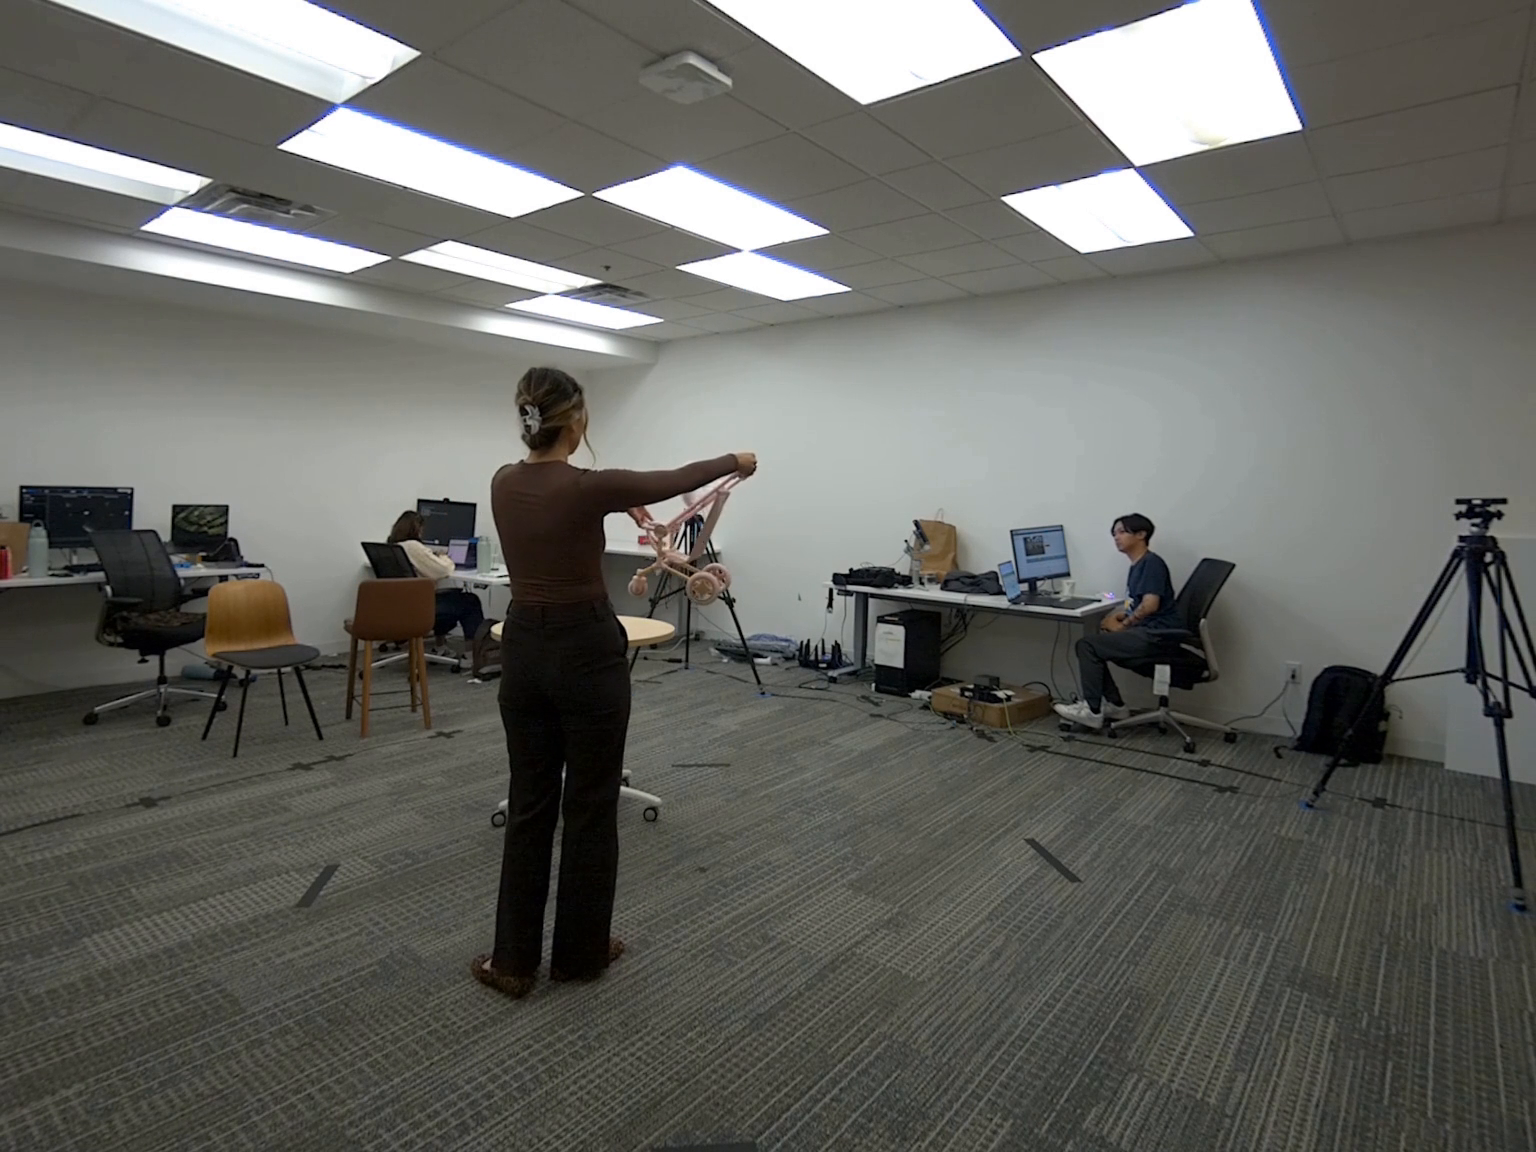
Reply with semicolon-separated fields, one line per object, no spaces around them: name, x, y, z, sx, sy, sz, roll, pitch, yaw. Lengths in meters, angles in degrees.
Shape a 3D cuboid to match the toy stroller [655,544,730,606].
toy stroller;-0.280;-0.151;2.896;0.347;0.532;0.278;14;7;12
